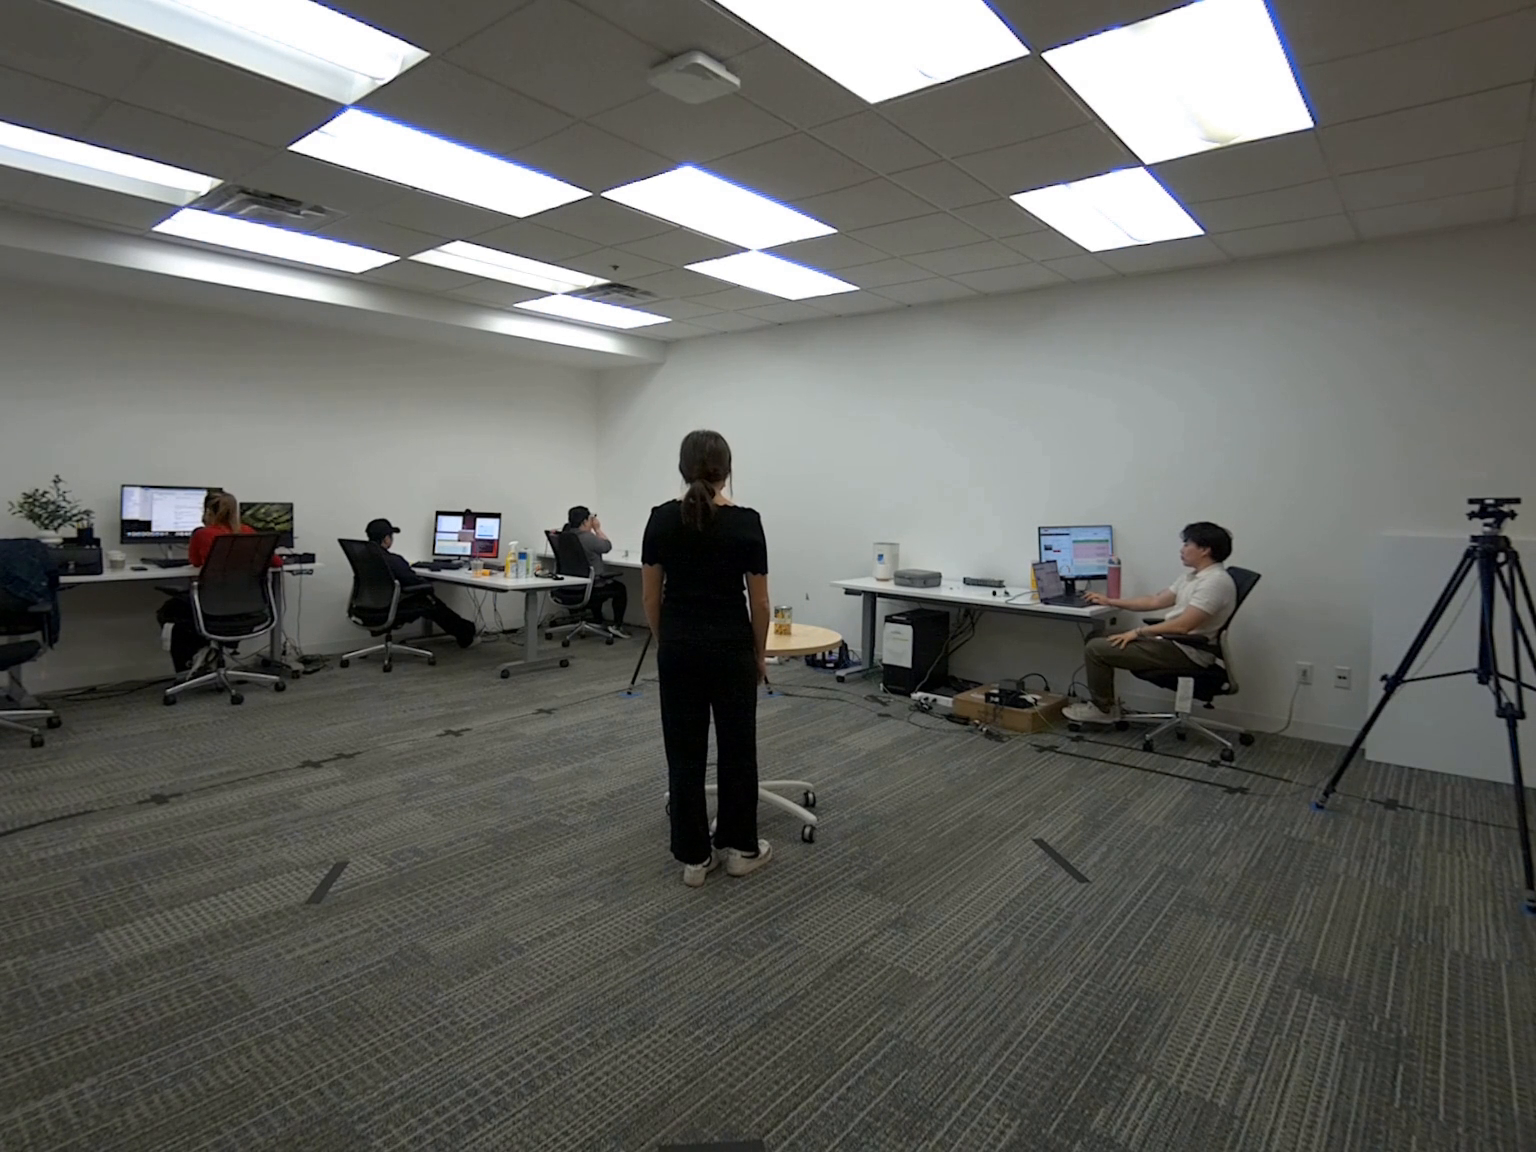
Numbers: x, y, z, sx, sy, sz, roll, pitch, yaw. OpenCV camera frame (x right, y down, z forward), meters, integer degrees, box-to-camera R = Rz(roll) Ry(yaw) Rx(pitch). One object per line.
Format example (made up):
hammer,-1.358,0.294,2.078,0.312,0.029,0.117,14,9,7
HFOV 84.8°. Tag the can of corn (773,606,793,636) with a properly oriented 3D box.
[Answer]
can of corn,0.060,0.186,3.590,0.074,0.111,0.074,1,1,-2
